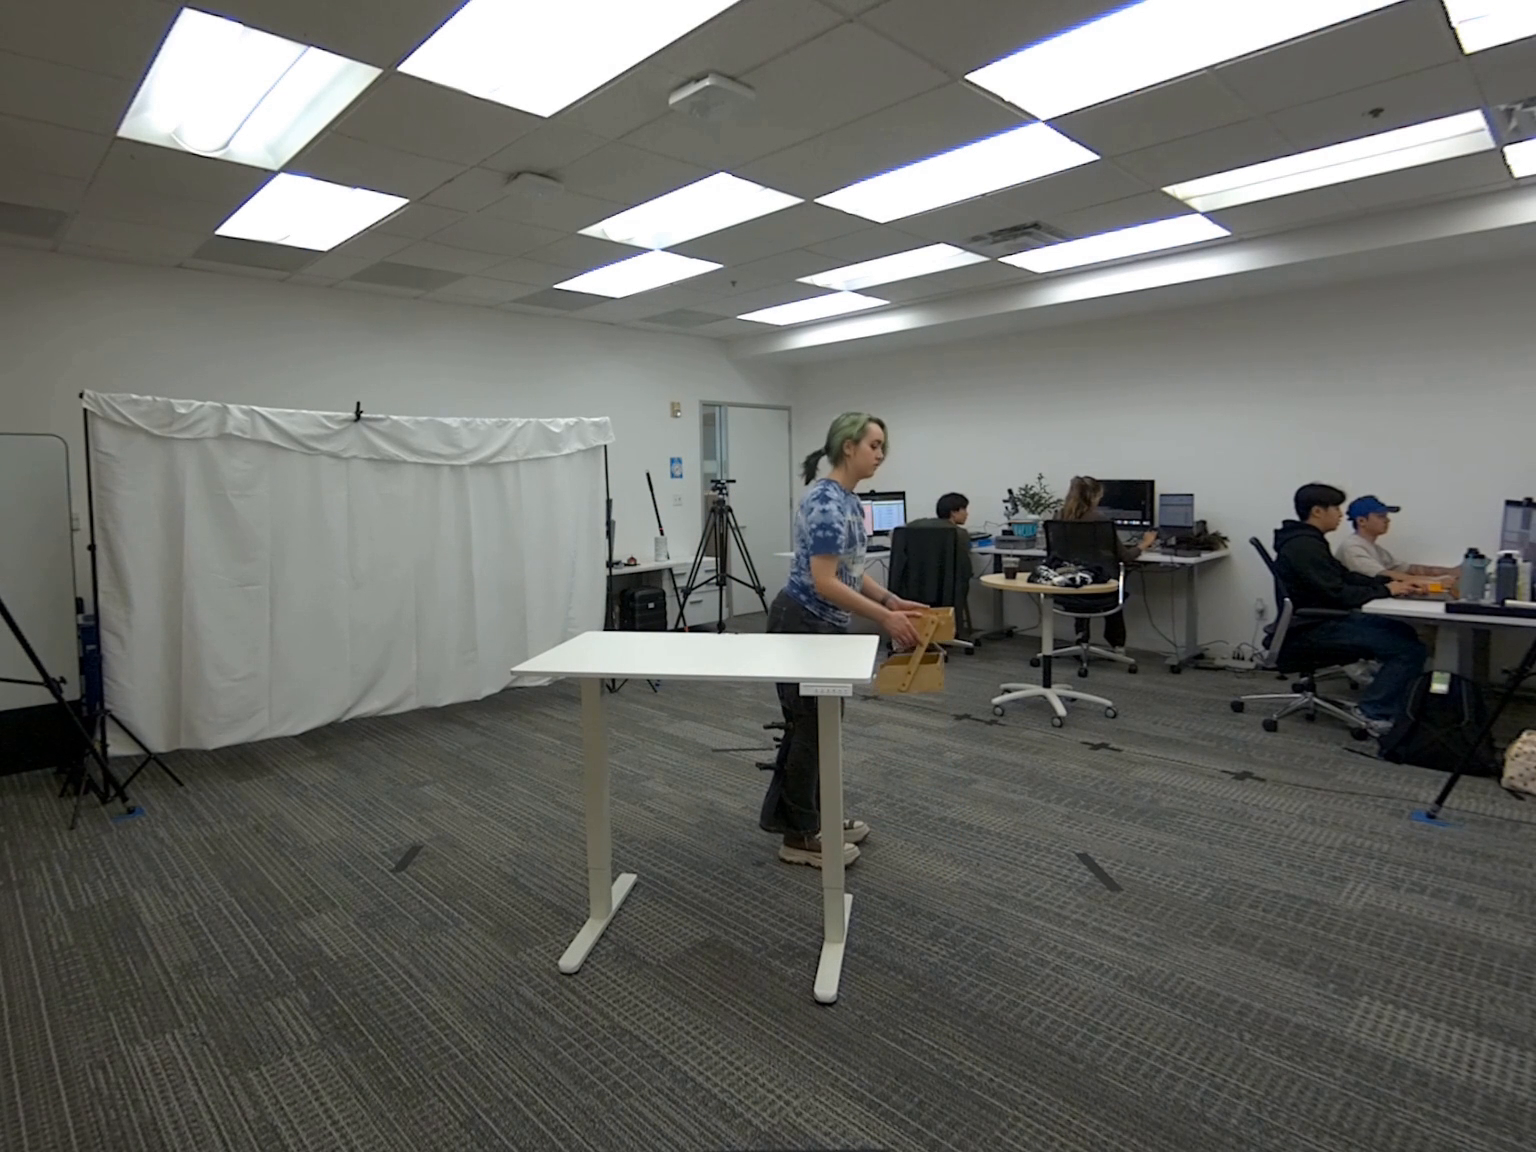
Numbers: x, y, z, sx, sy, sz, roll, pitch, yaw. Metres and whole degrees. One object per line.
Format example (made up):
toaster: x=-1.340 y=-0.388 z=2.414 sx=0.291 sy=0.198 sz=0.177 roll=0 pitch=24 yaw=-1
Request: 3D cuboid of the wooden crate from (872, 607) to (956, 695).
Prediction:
wooden crate: x=0.503 y=0.273 z=3.092 sx=0.305 sy=0.273 sz=0.322 roll=-5 pitch=3 yaw=9
